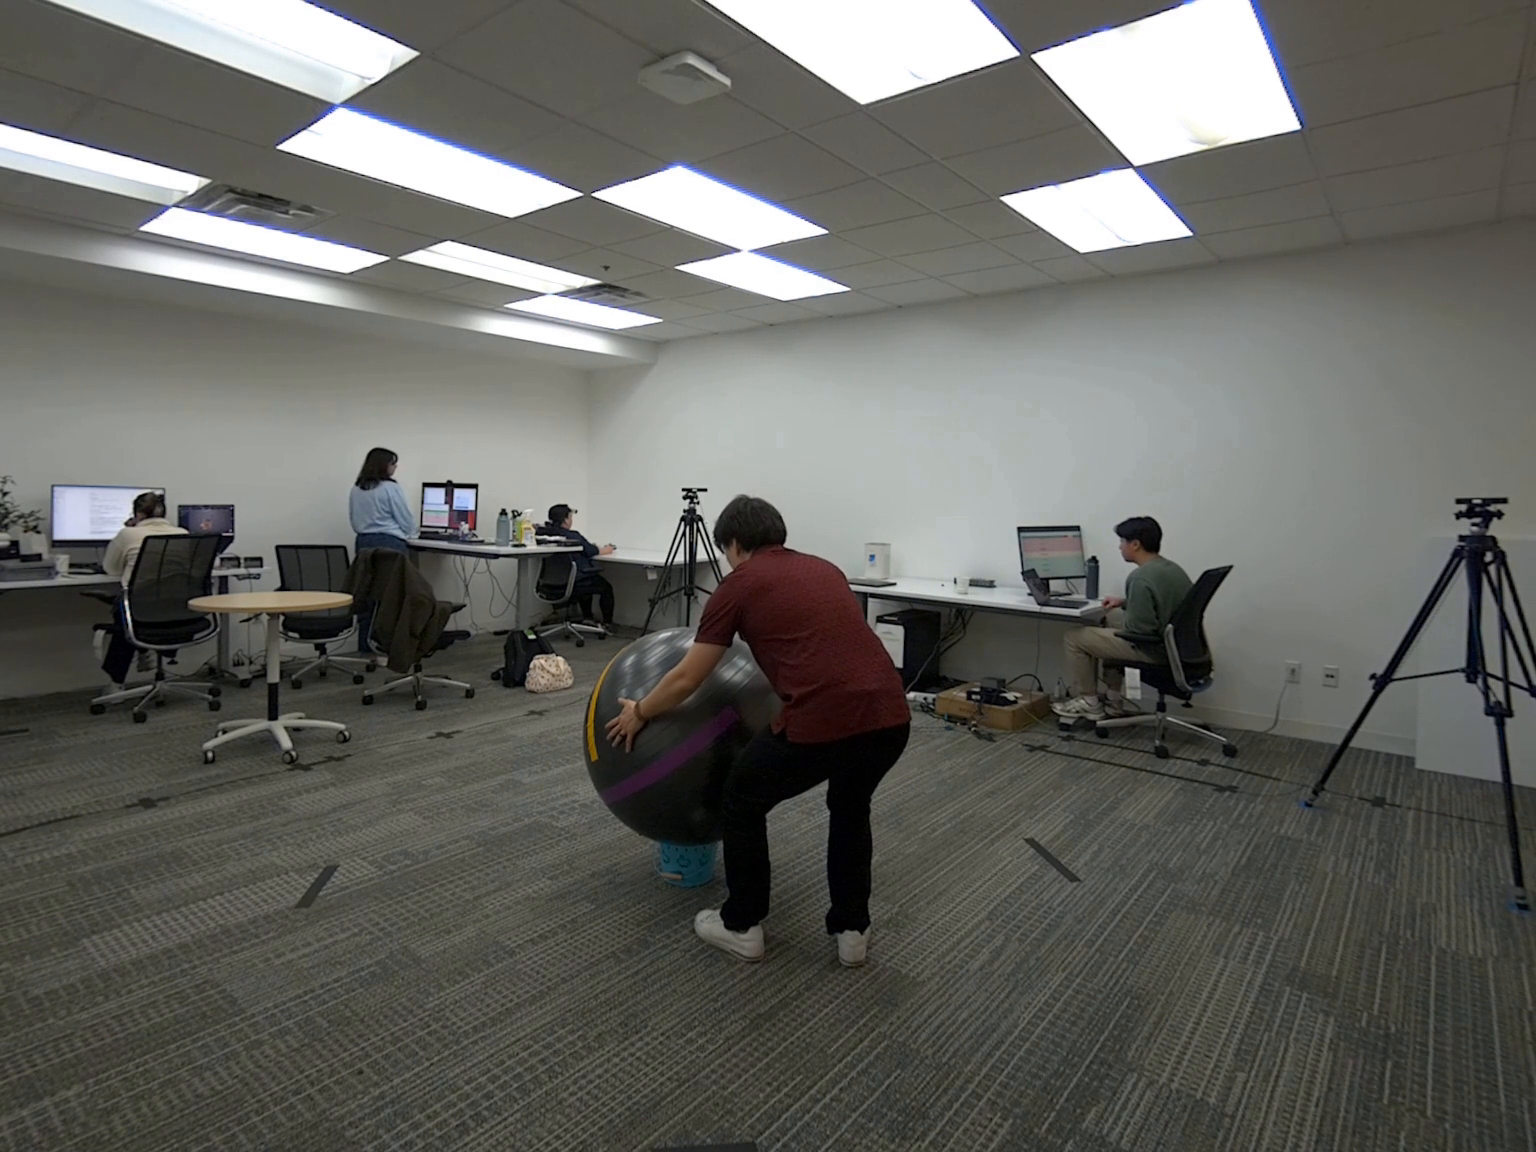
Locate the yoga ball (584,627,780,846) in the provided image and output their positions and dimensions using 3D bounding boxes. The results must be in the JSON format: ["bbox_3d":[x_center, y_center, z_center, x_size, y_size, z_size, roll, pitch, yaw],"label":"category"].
[{"bbox_3d":[-0.293,0.571,3.046,0.757,0.756,0.761,1,4,-2],"label":"yoga ball"}]
